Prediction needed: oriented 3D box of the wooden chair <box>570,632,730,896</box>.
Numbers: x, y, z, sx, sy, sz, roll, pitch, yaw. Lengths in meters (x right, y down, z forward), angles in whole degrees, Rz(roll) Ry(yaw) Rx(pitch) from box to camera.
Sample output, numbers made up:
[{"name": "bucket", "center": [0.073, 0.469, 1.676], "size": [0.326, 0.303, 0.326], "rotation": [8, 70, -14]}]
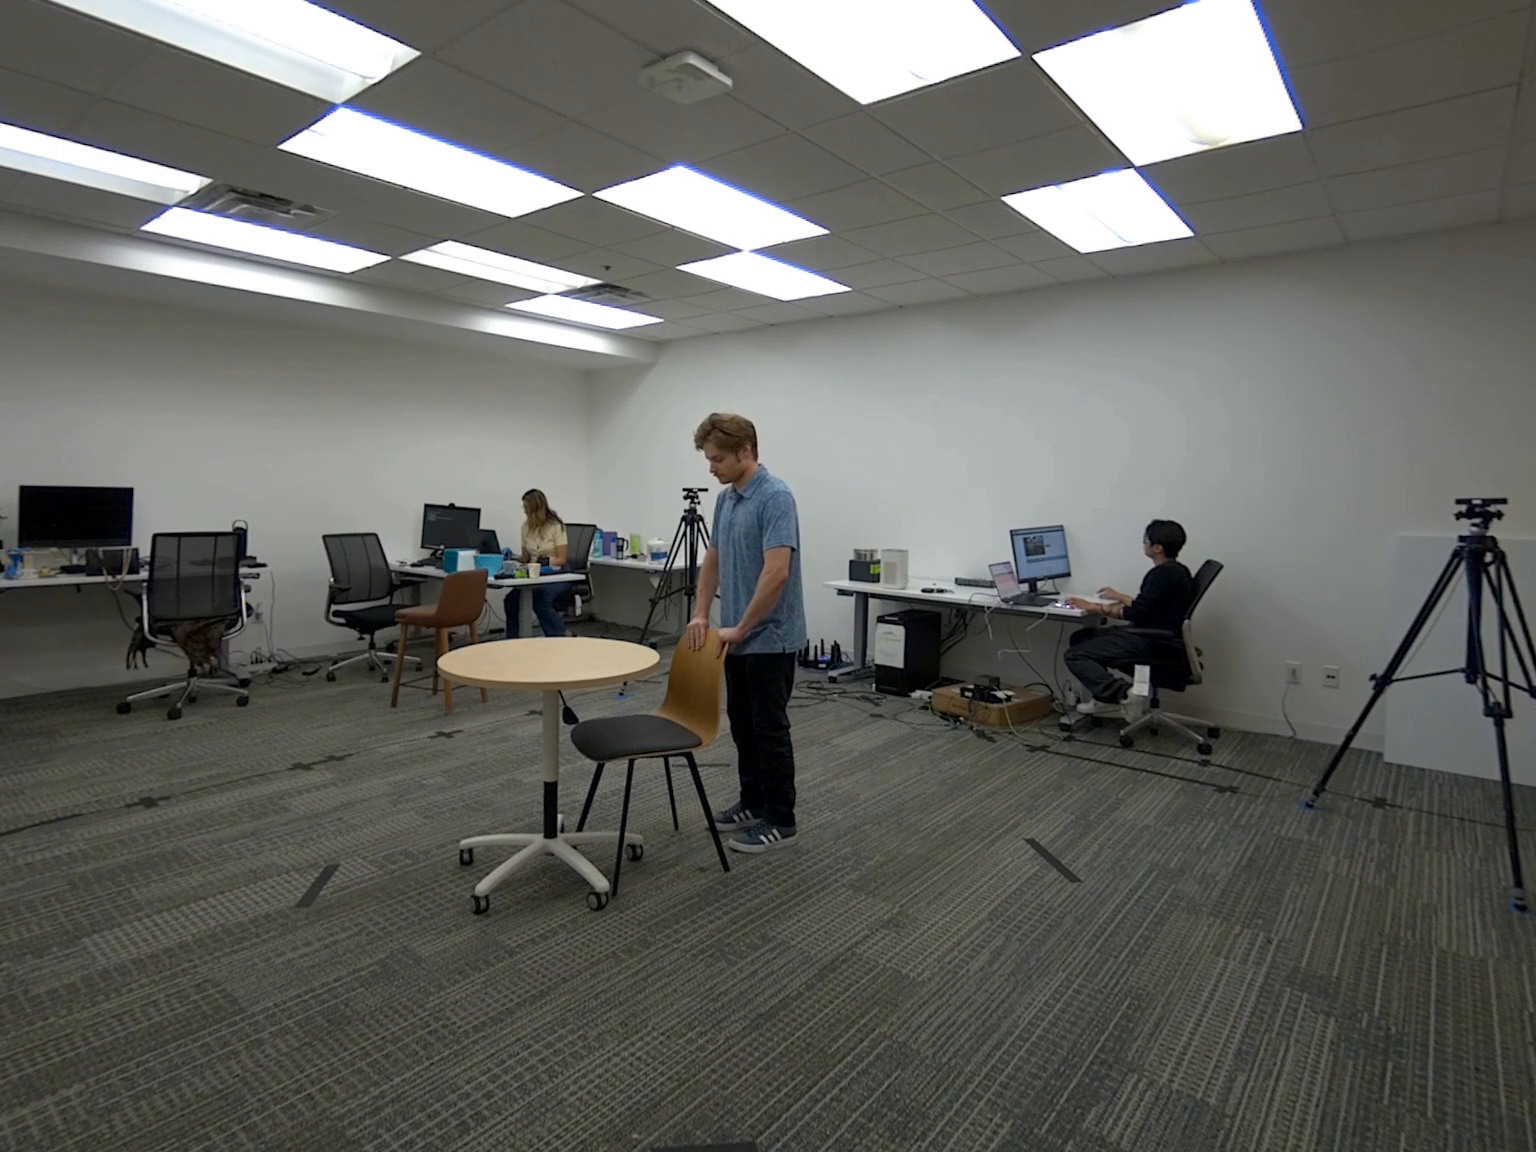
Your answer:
[{"name": "wooden chair", "center": [-0.455, 0.631, 3.155], "size": [0.508, 0.876, 0.492], "rotation": [3, 2, -30]}]
